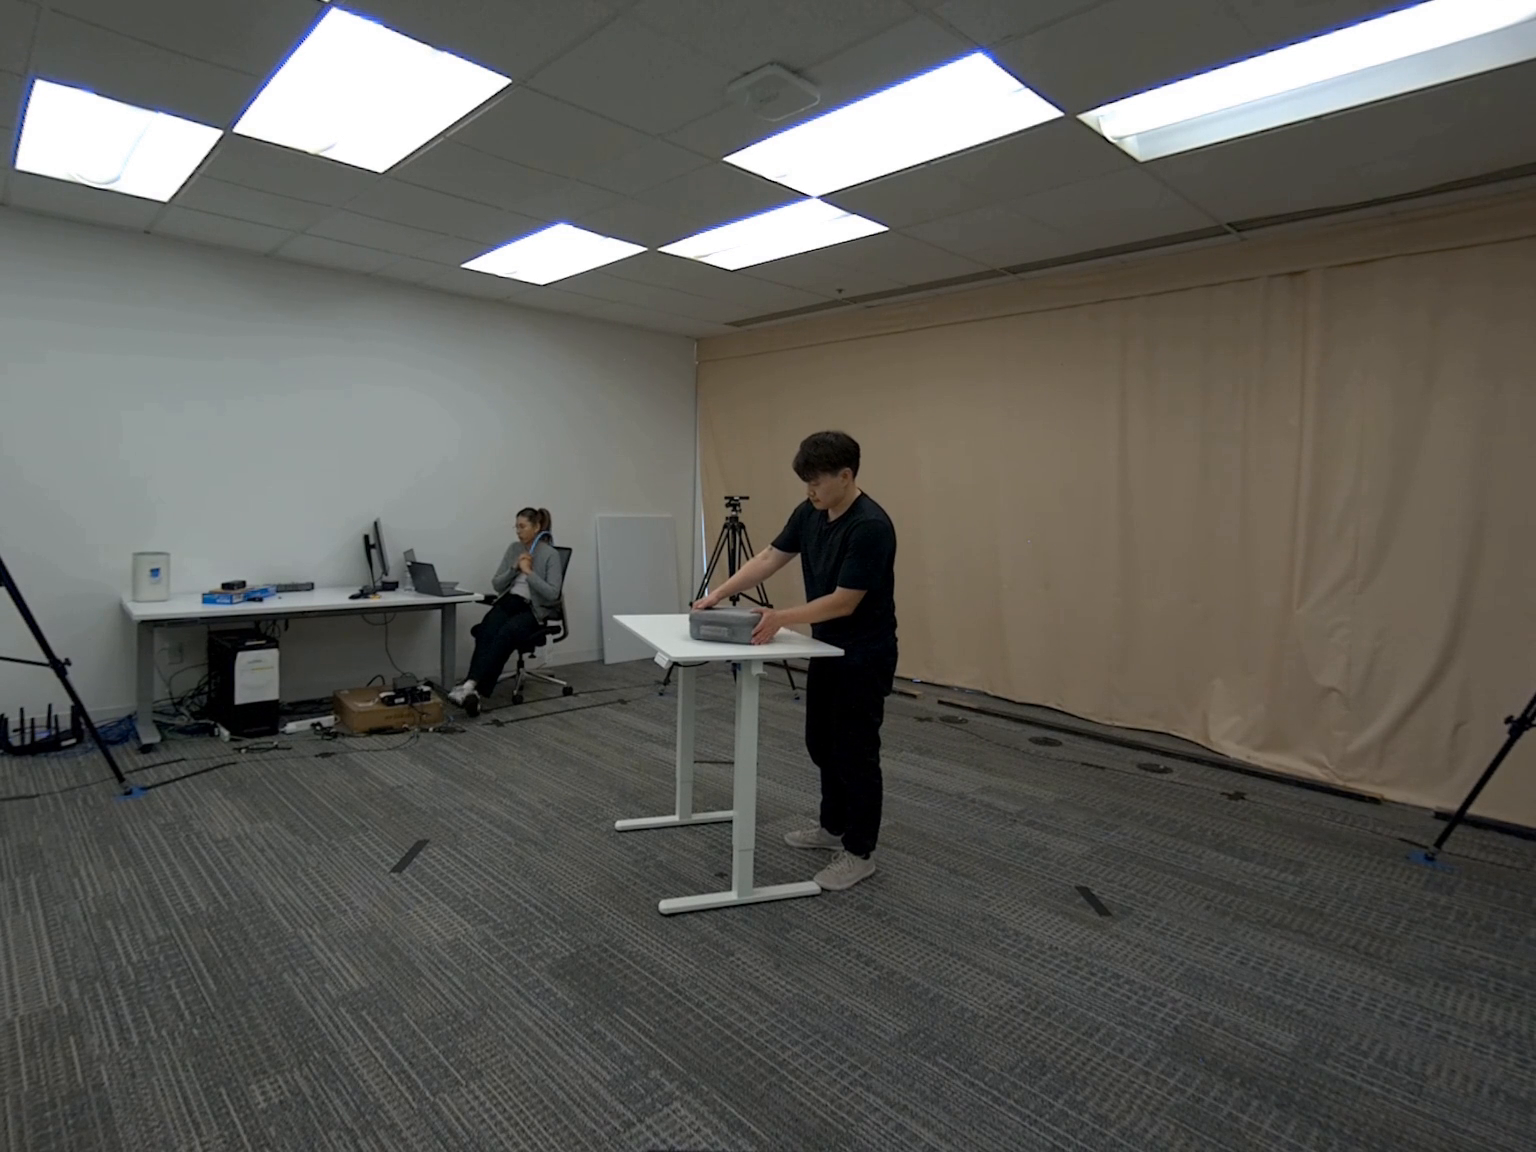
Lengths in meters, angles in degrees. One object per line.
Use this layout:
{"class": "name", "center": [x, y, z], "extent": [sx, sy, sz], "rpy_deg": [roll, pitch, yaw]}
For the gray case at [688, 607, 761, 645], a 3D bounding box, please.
{"class": "gray case", "center": [-0.124, 0.179, 3.034], "extent": [0.261, 0.104, 0.257], "rpy_deg": [4, 5, 22]}
